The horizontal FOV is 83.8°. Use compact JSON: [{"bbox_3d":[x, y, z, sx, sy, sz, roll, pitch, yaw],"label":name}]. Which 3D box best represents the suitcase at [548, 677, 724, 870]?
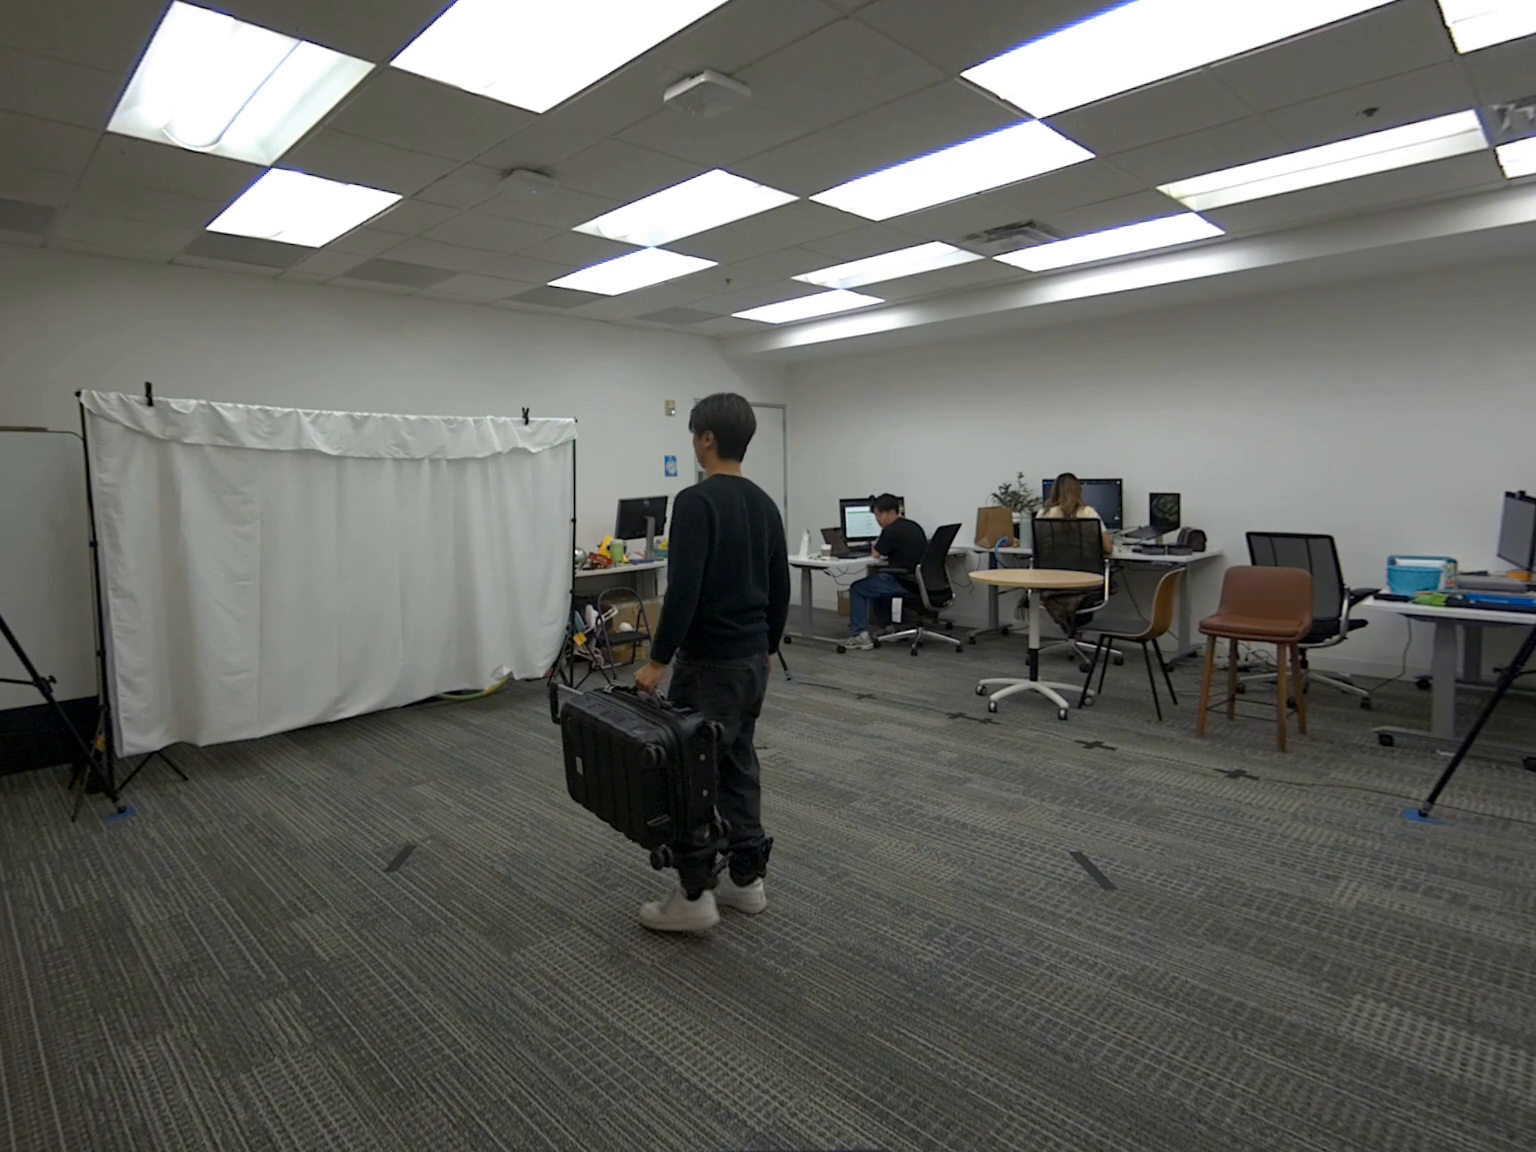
[{"bbox_3d":[-0.526,0.532,2.697,0.251,0.380,1.011,-11,14,-41],"label":"suitcase"}]
